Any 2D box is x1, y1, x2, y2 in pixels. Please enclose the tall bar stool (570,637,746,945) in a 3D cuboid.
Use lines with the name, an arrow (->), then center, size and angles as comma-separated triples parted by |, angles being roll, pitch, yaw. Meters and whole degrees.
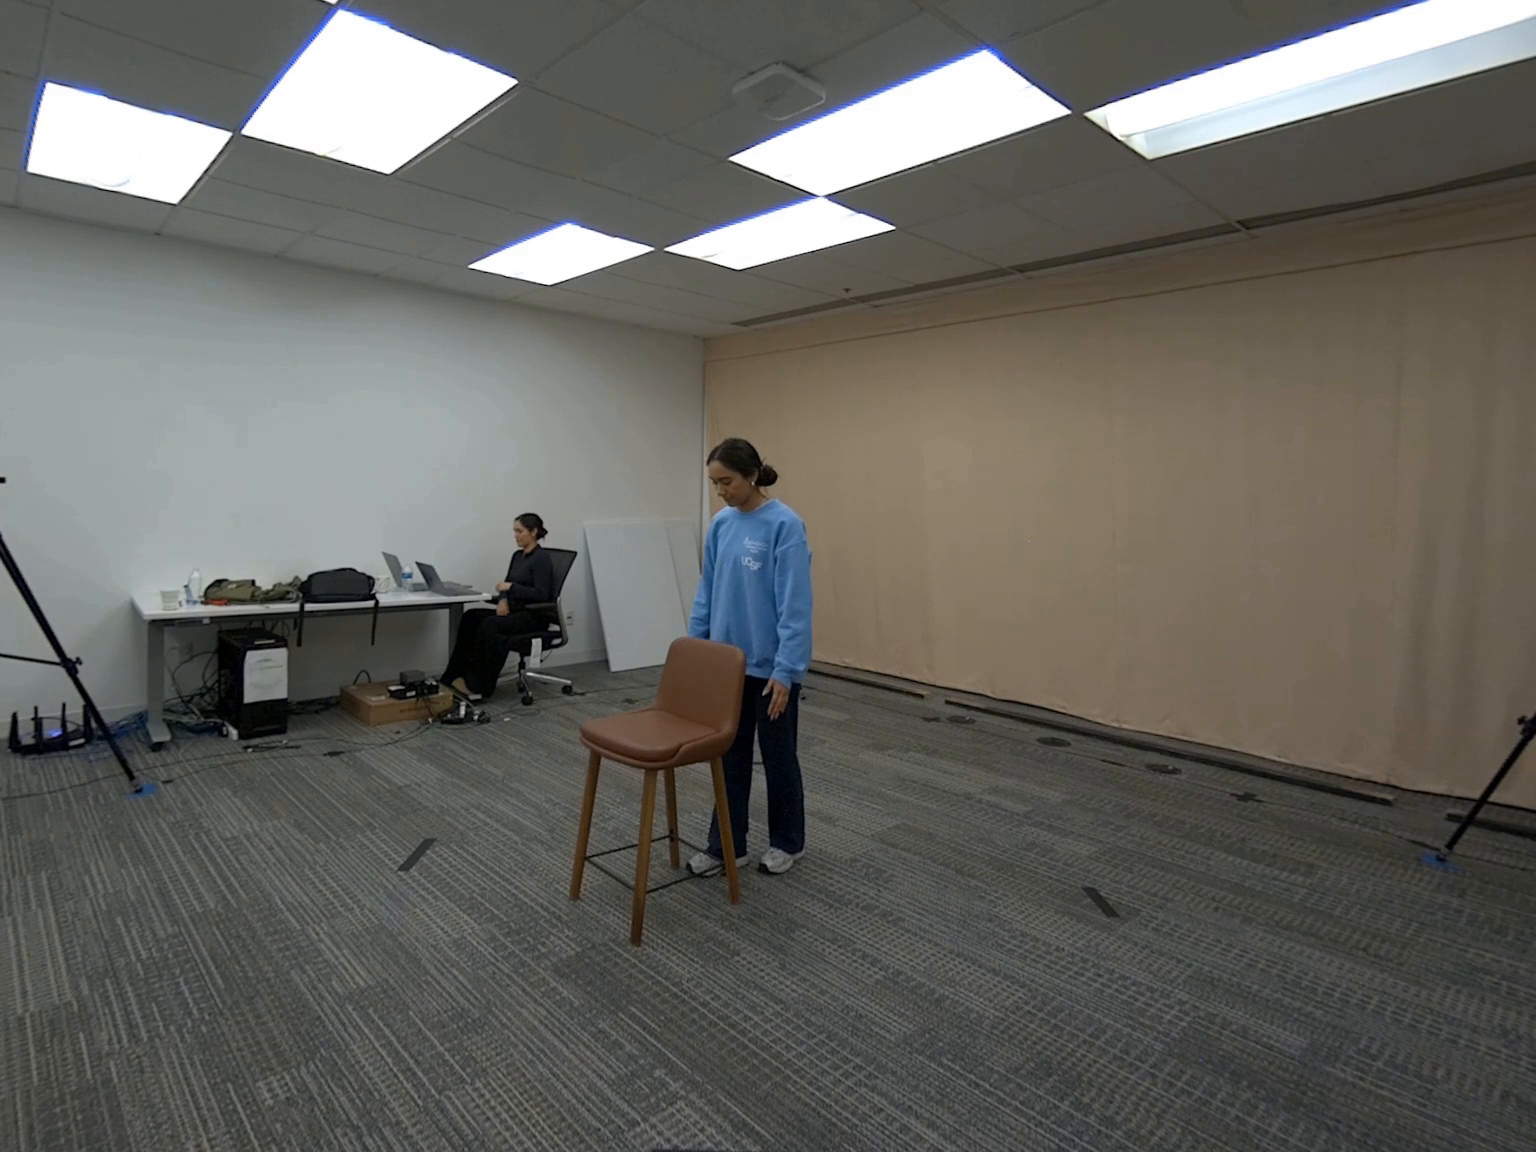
tall bar stool -> -0.375, 0.686, 2.861 | 0.456, 0.888, 0.468 | 1, 3, -41
